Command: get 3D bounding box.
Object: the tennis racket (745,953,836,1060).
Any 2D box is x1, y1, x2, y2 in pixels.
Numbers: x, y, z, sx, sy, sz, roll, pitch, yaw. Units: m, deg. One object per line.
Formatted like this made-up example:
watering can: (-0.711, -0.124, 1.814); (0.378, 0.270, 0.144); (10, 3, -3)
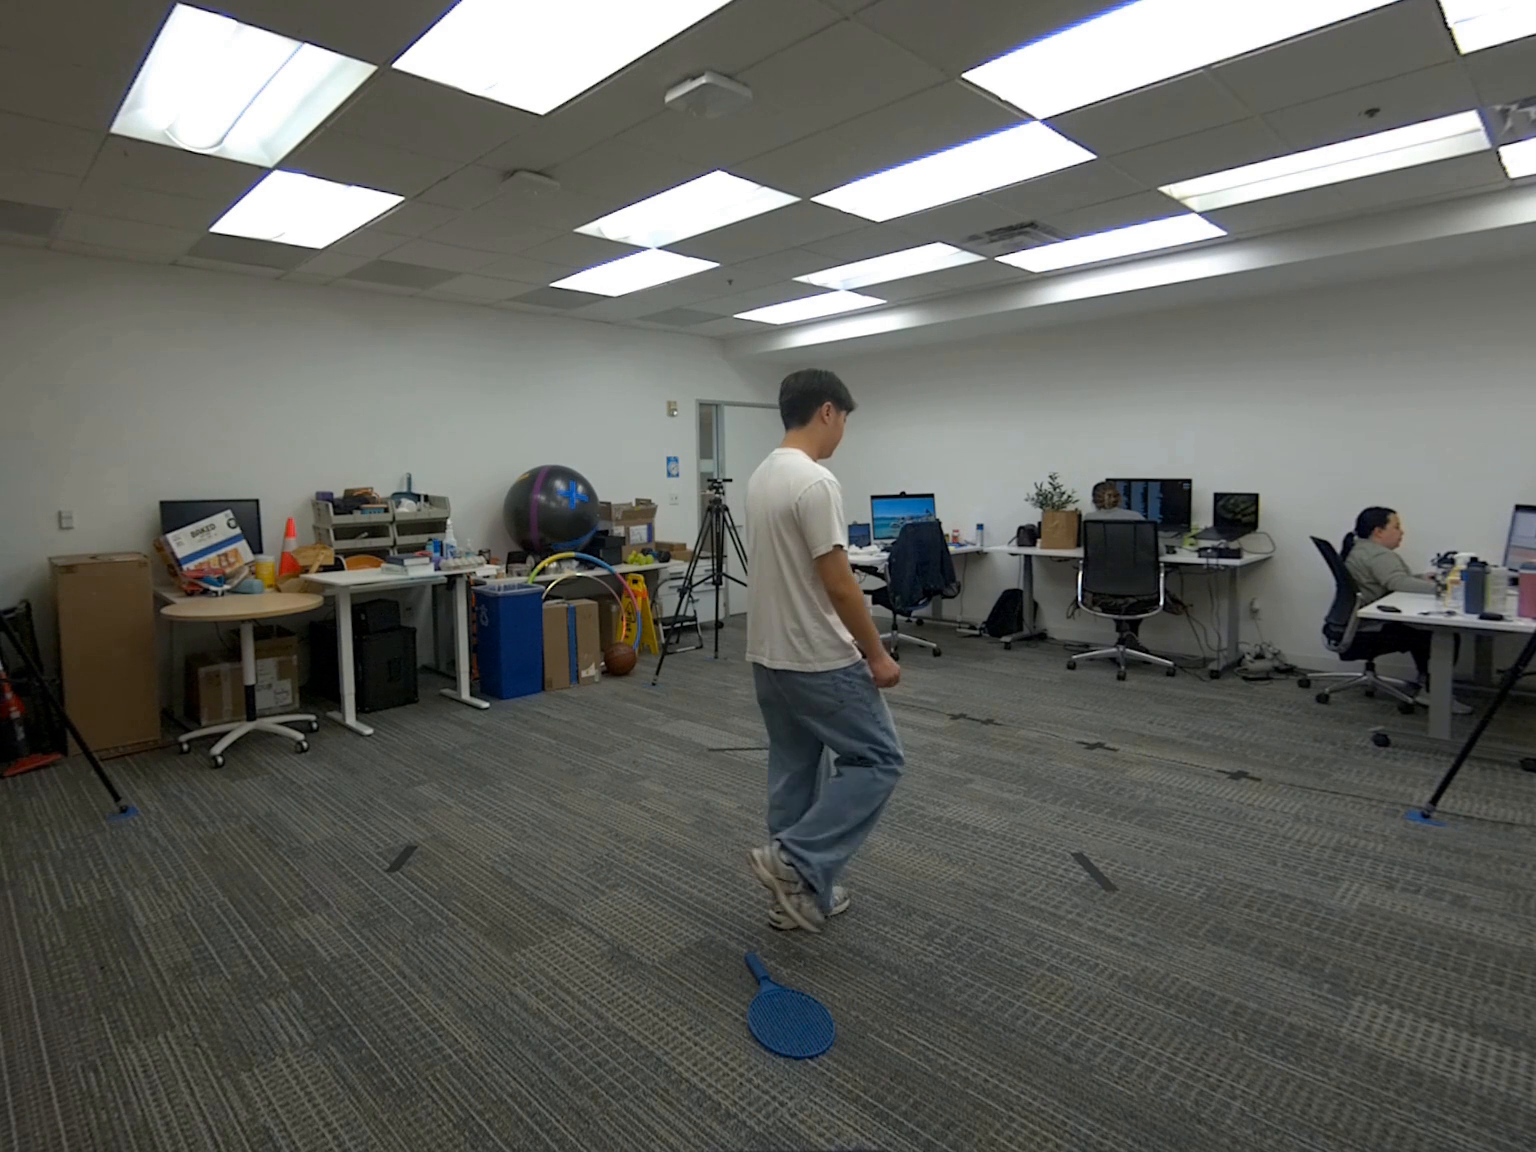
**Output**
tennis racket: (0.037, 1.127, 2.266); (0.210, 0.031, 0.442); (-4, 9, -18)
